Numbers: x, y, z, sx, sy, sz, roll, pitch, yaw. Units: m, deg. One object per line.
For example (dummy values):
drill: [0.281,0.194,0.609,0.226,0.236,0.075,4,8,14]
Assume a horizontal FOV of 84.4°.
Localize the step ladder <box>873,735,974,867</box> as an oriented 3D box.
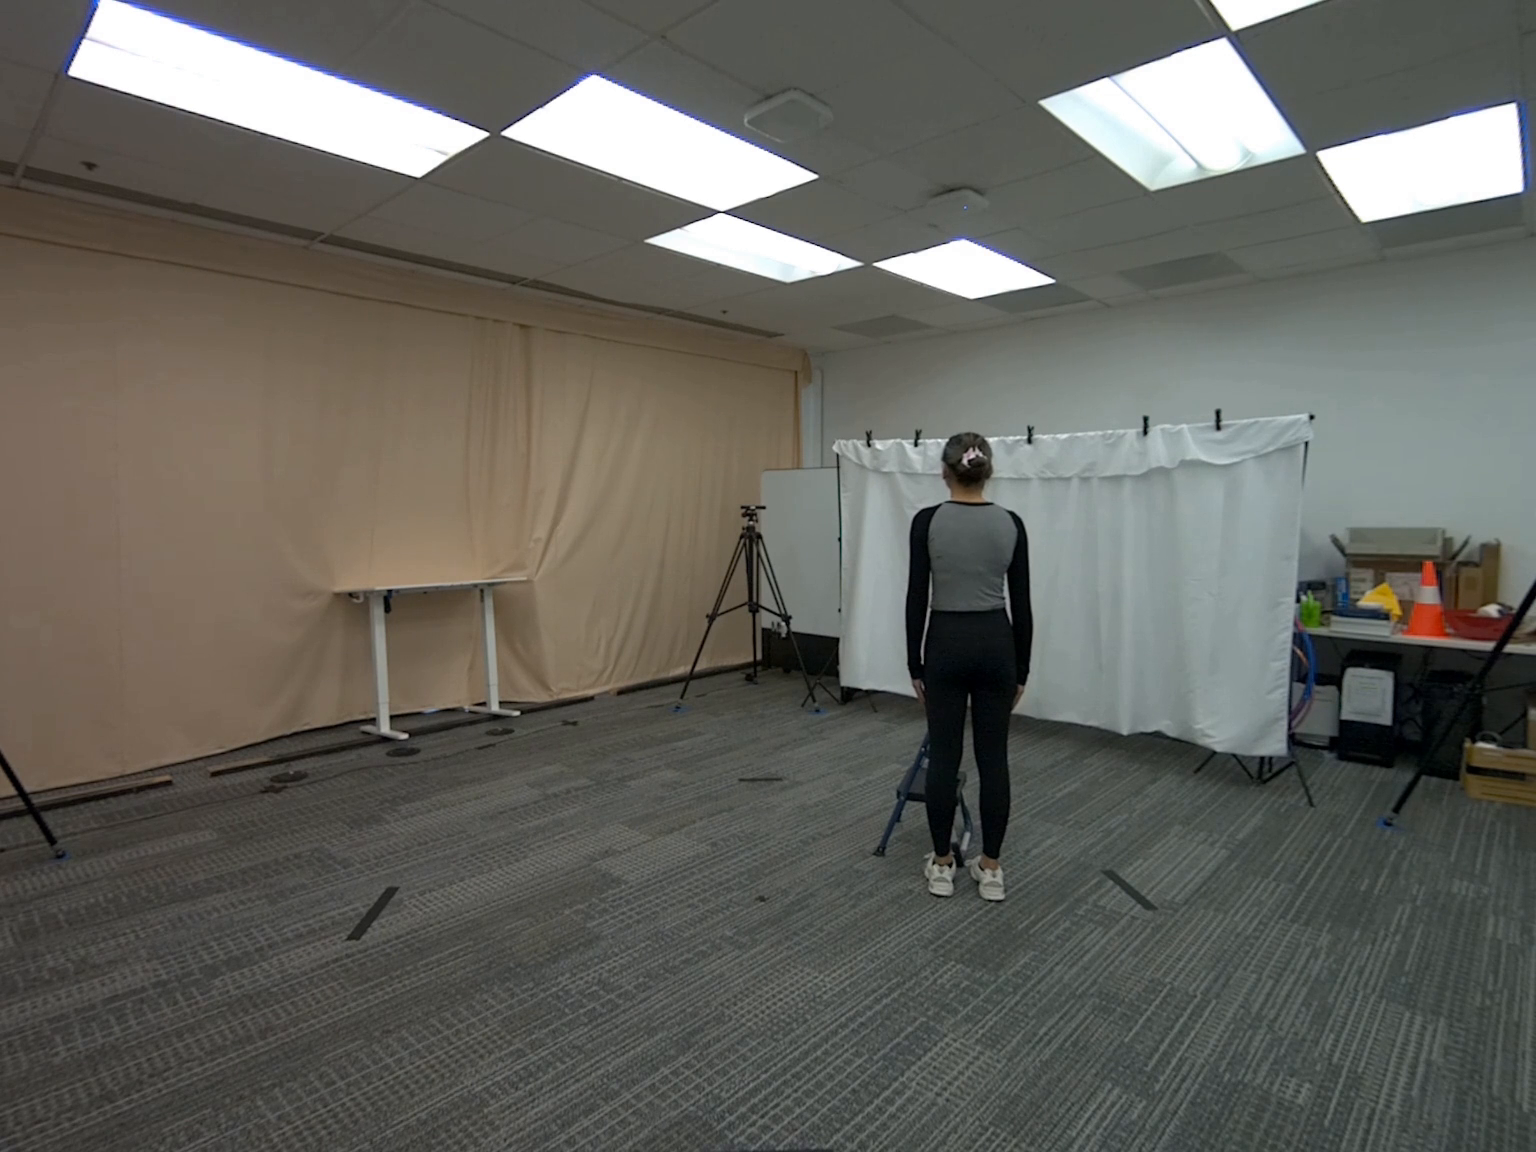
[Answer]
step ladder: [0.654,0.801,3.468,0.357,0.604,0.422,1,4,20]
